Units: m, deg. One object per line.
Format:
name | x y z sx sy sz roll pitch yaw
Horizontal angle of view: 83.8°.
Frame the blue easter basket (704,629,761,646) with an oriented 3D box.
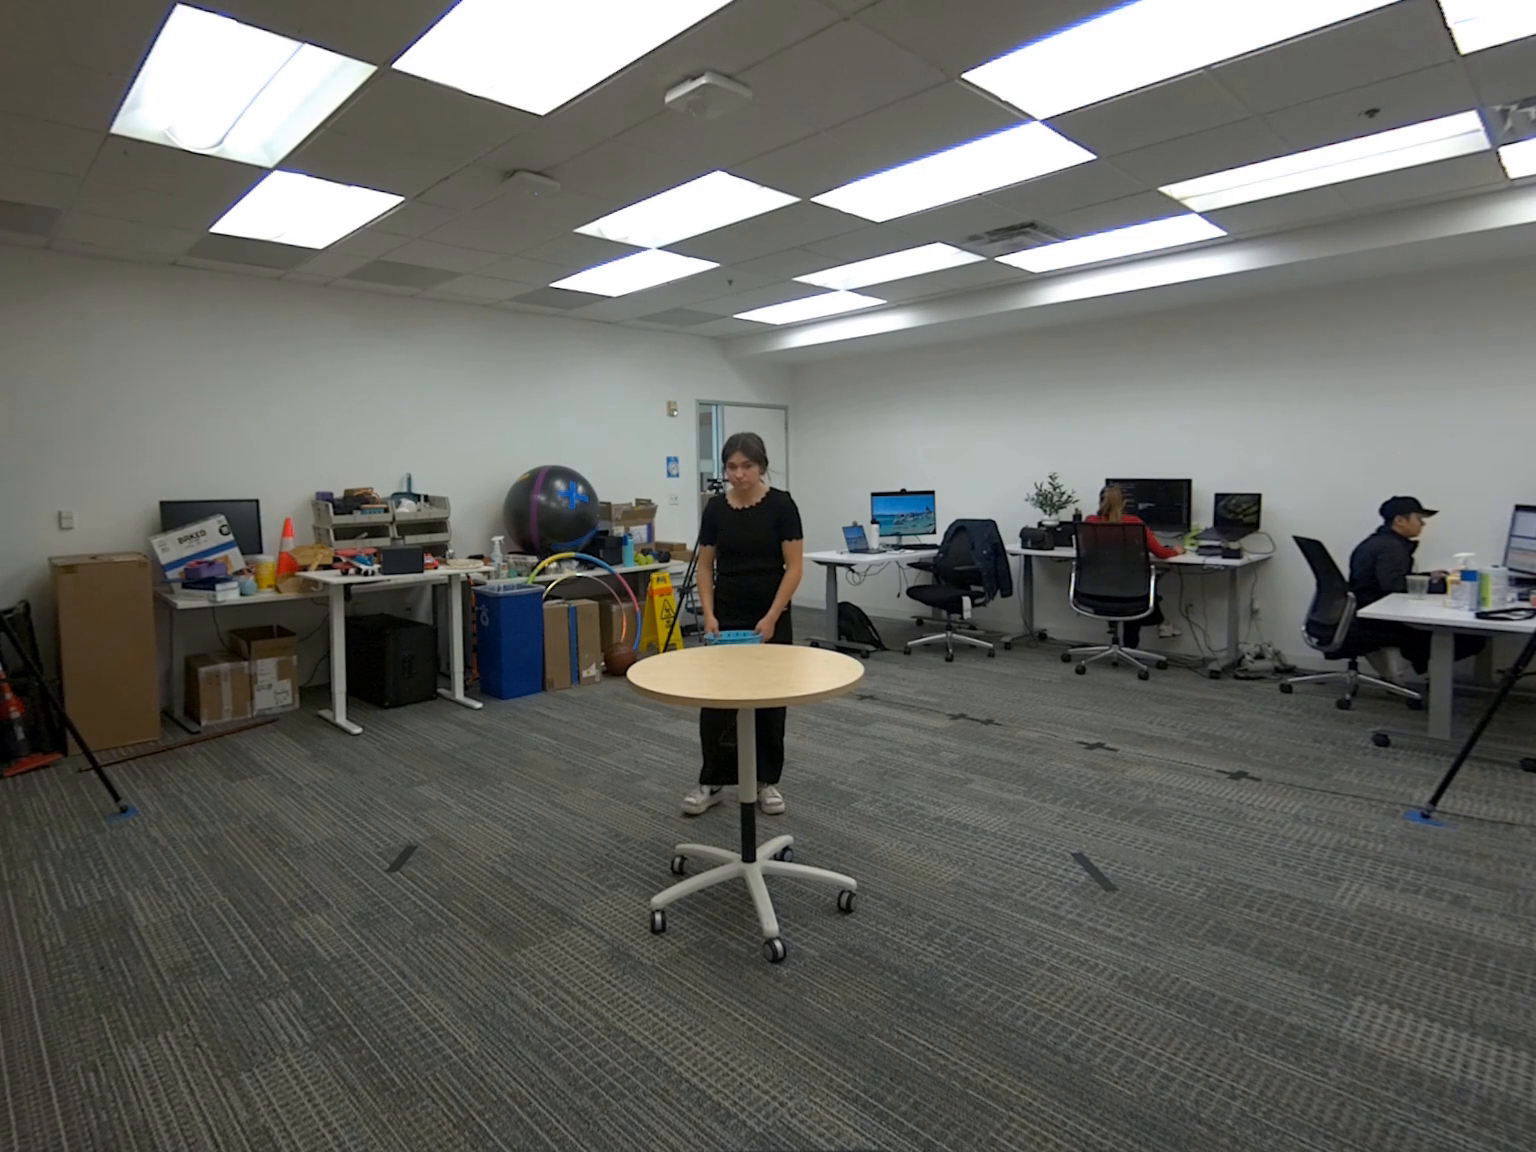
blue easter basket | -0.149 0.323 3.427 0.243 0.155 0.244 -4 4 -1
